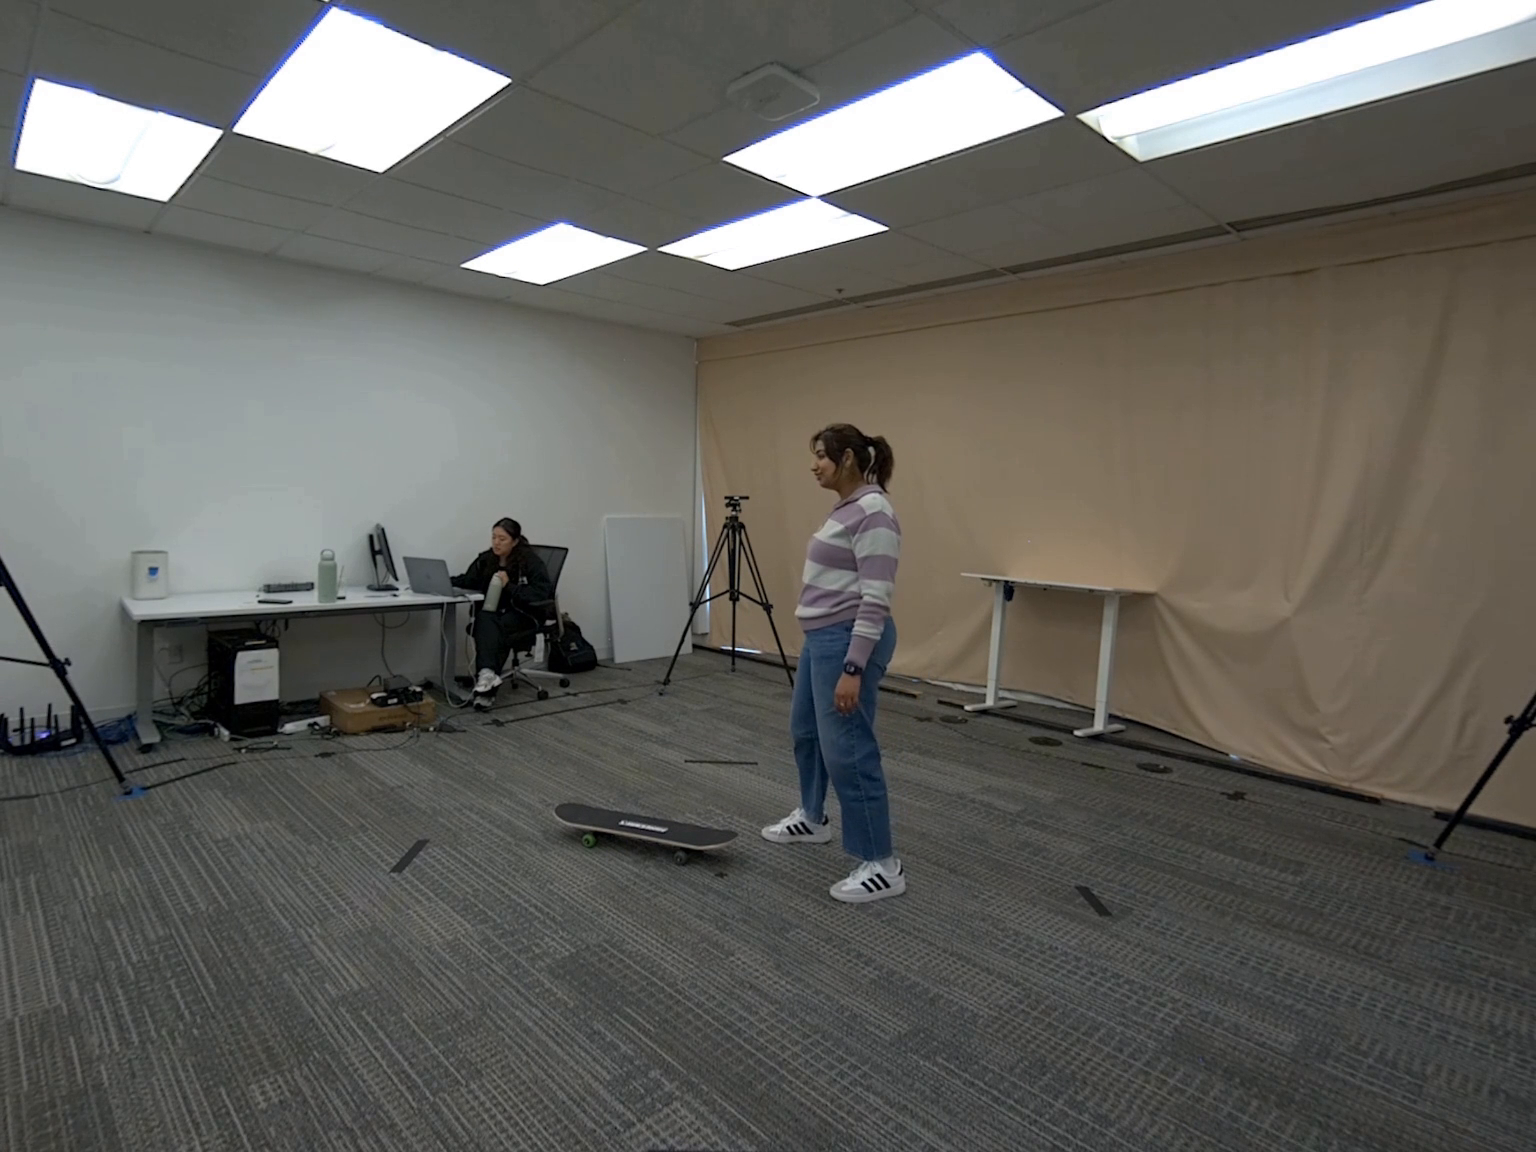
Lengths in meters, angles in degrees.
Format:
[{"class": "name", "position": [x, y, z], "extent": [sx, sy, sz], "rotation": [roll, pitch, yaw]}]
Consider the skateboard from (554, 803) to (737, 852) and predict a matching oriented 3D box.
[{"class": "skateboard", "position": [-0.506, 1.021, 3.327], "extent": [0.798, 0.110, 0.191], "rotation": [3, 5, 20]}]
